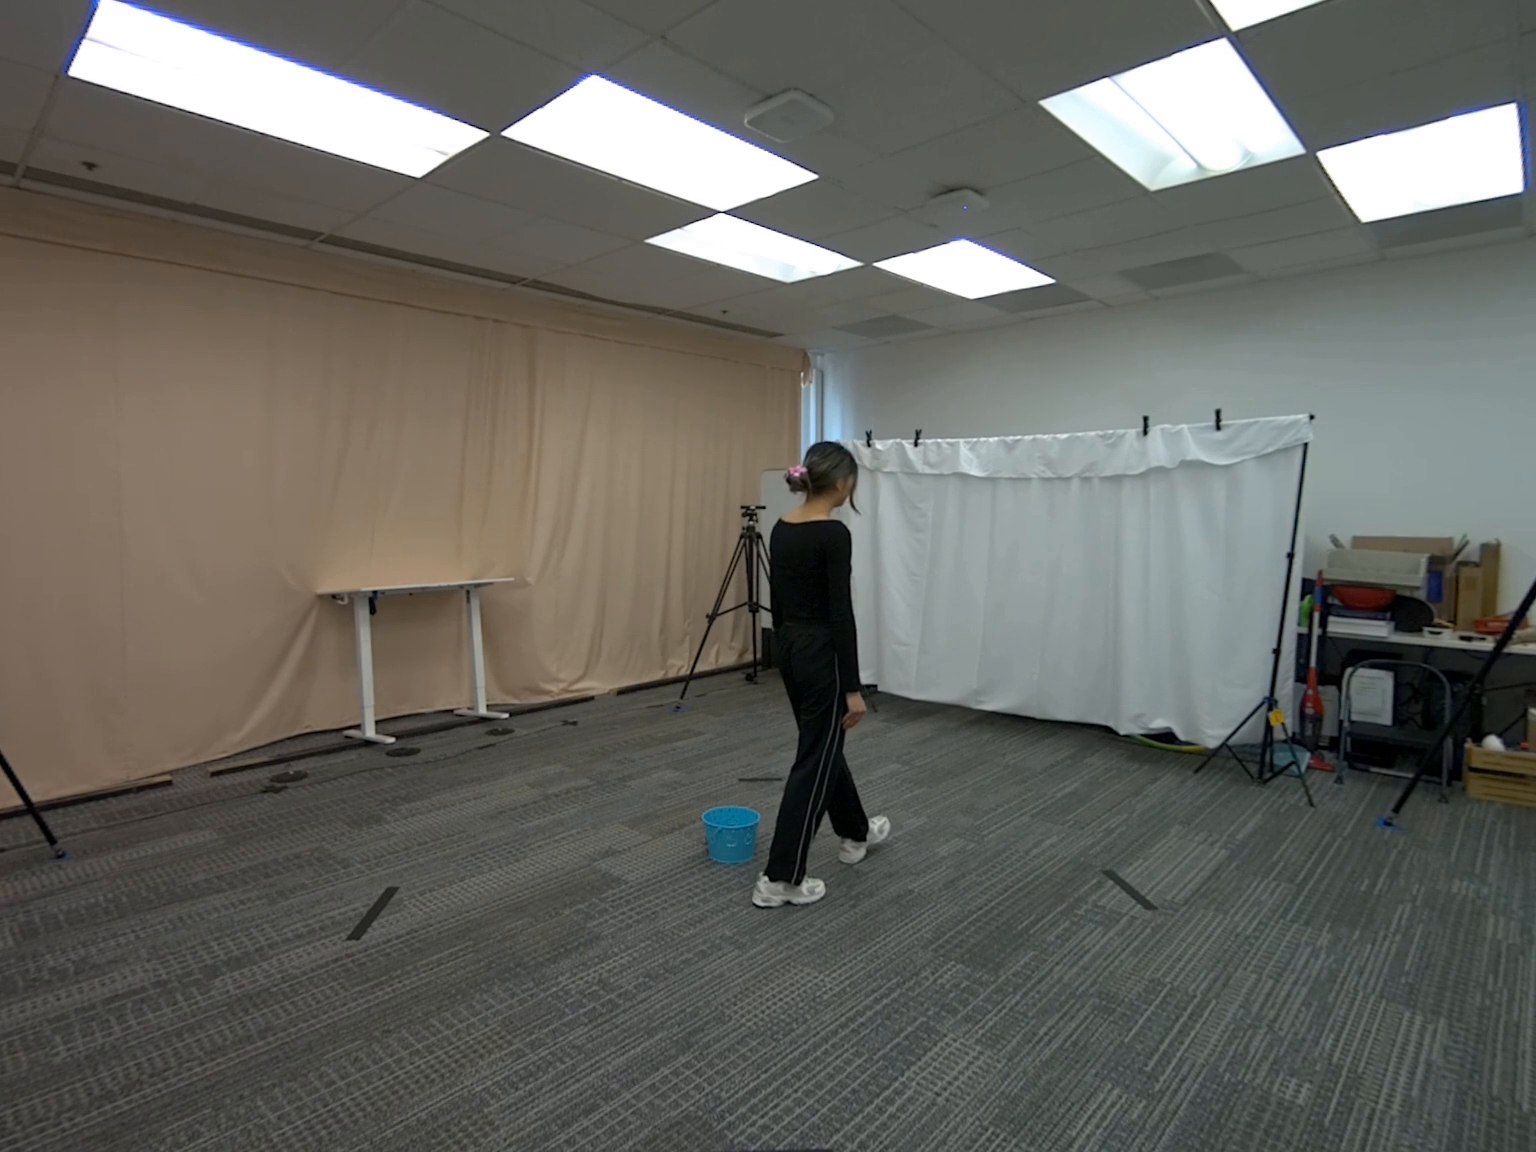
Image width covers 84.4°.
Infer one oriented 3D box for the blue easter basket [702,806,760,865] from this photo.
[{"bbox_3d":[-0.149,1.035,3.364,0.243,0.155,0.244,-1,4,-2],"label":"blue easter basket"}]
